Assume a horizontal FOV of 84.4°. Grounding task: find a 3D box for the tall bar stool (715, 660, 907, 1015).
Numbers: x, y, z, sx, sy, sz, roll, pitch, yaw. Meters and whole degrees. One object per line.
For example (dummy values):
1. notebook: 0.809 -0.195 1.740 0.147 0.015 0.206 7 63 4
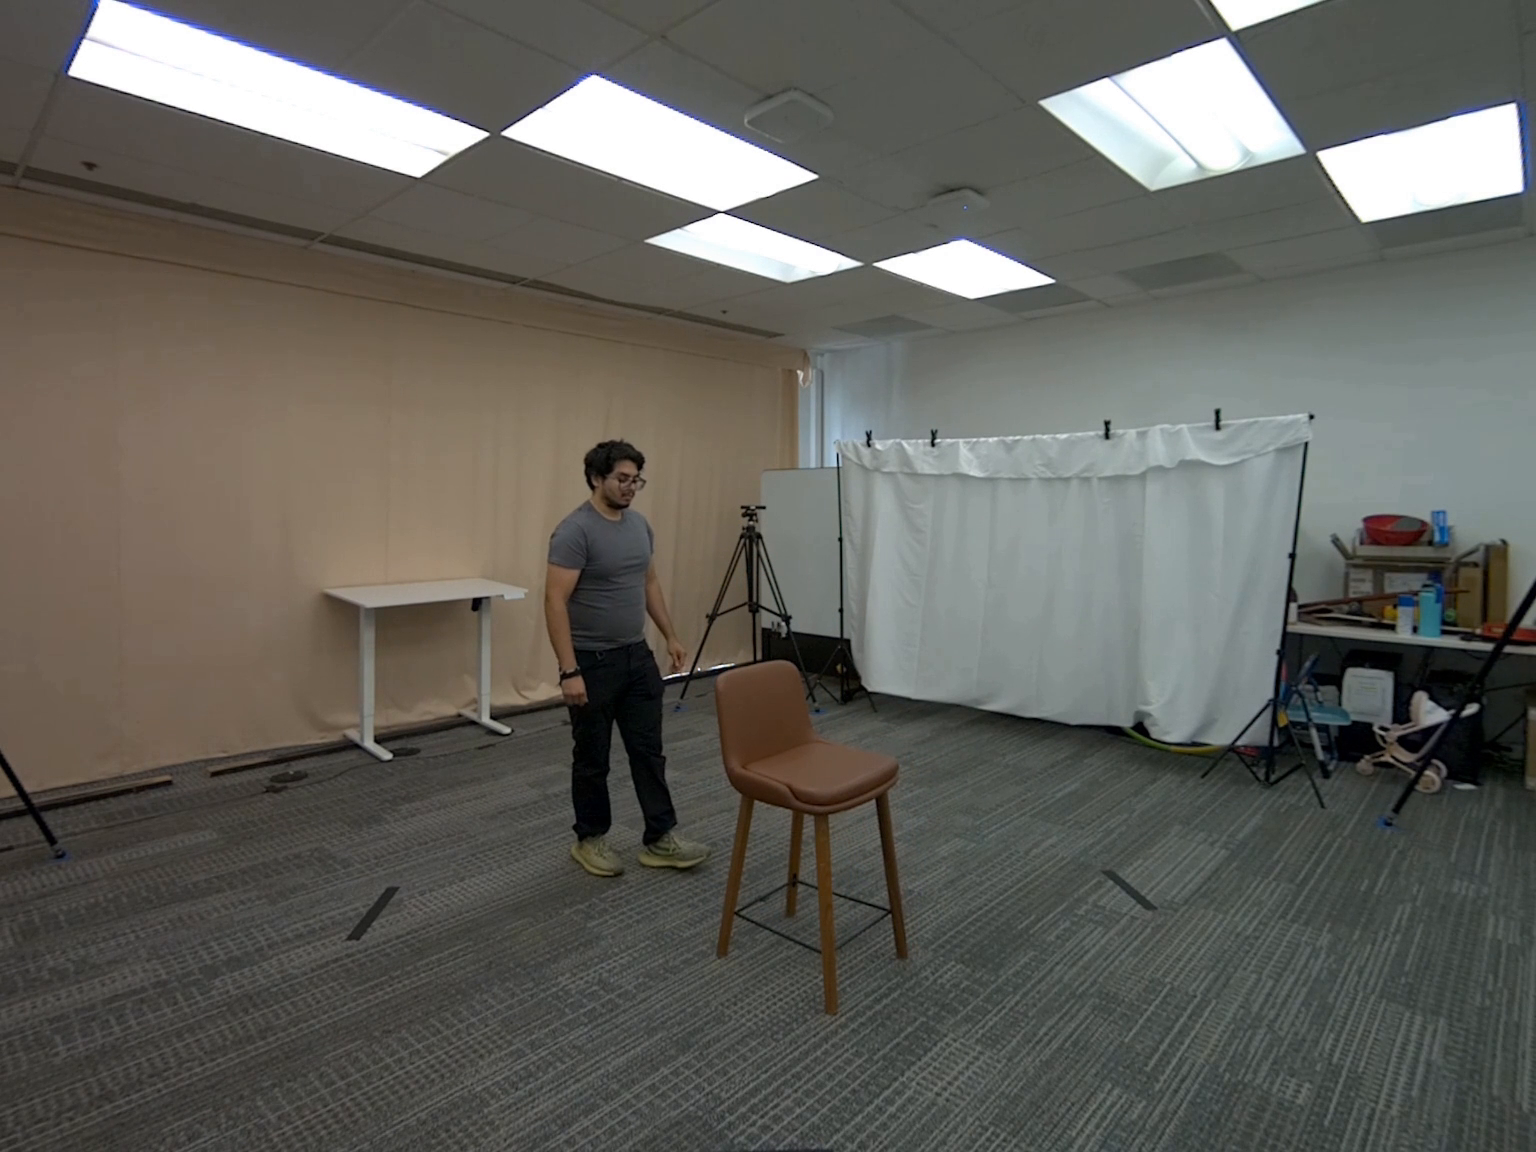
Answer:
1. tall bar stool: 0.132 0.744 2.578 0.483 0.888 0.442 0 3 41
